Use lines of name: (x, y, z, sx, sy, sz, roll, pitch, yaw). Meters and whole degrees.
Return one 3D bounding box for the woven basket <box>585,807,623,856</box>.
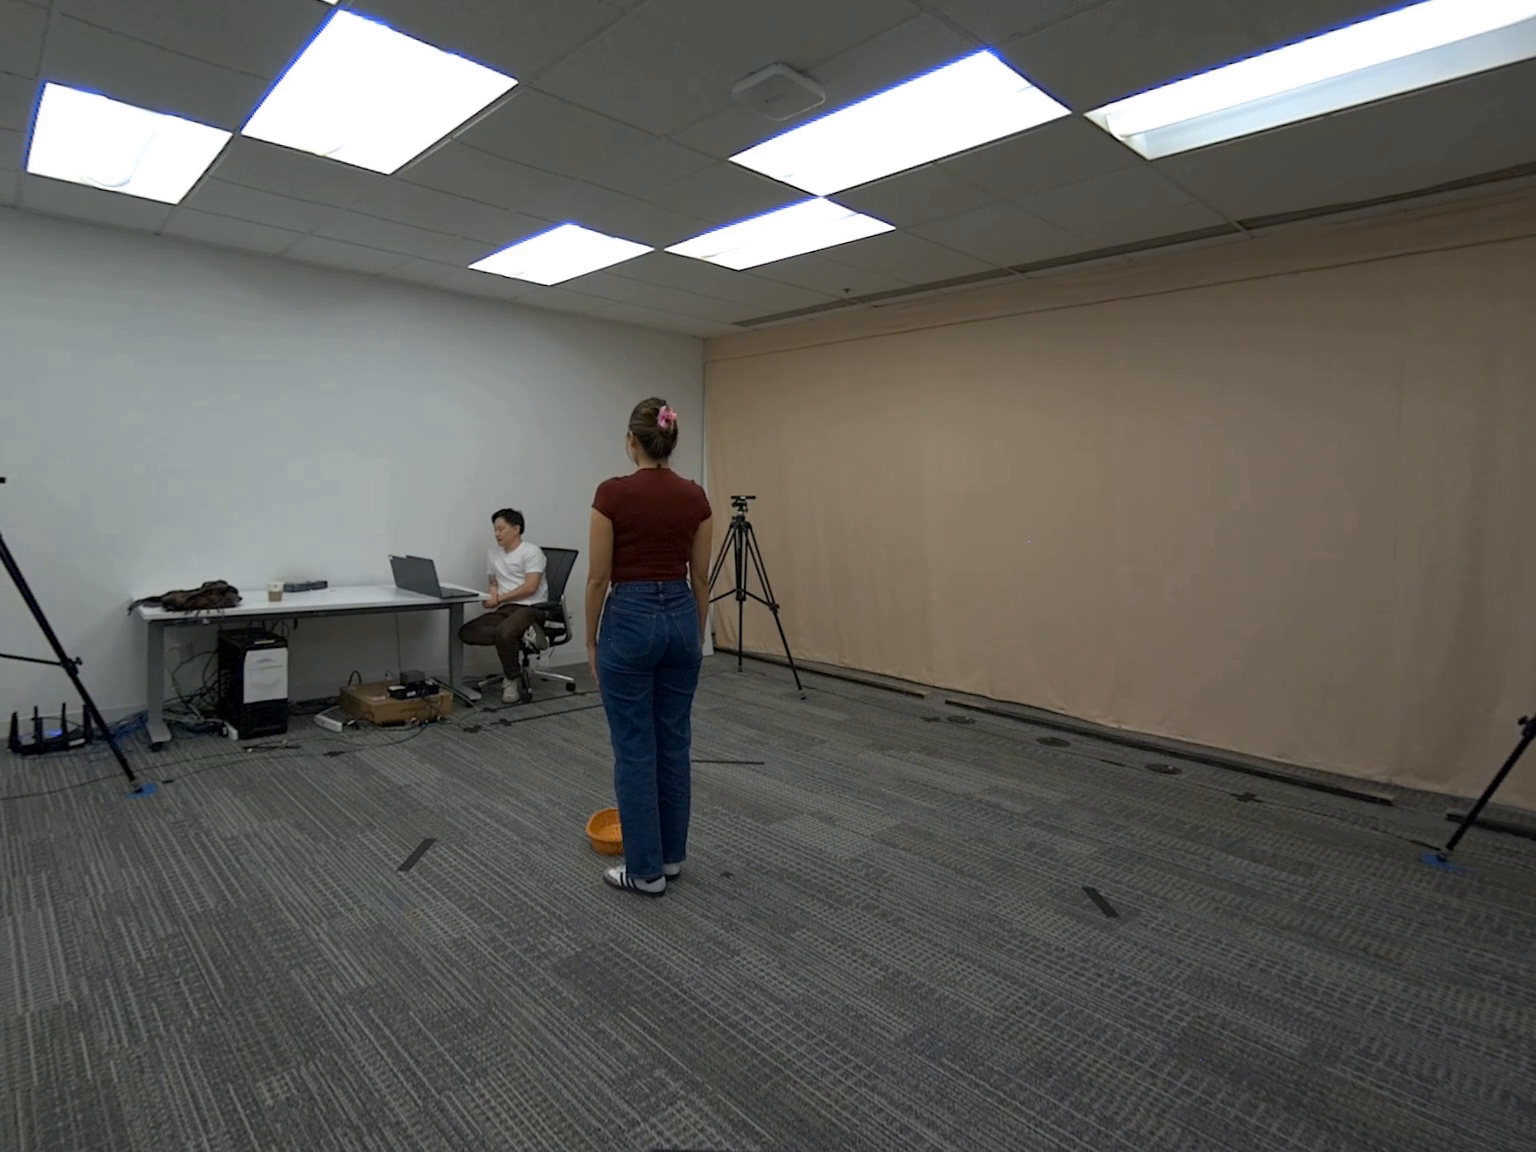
woven basket: (-0.607, 1.027, 3.389, 0.253, 0.073, 0.351, 3, 5, 1)
